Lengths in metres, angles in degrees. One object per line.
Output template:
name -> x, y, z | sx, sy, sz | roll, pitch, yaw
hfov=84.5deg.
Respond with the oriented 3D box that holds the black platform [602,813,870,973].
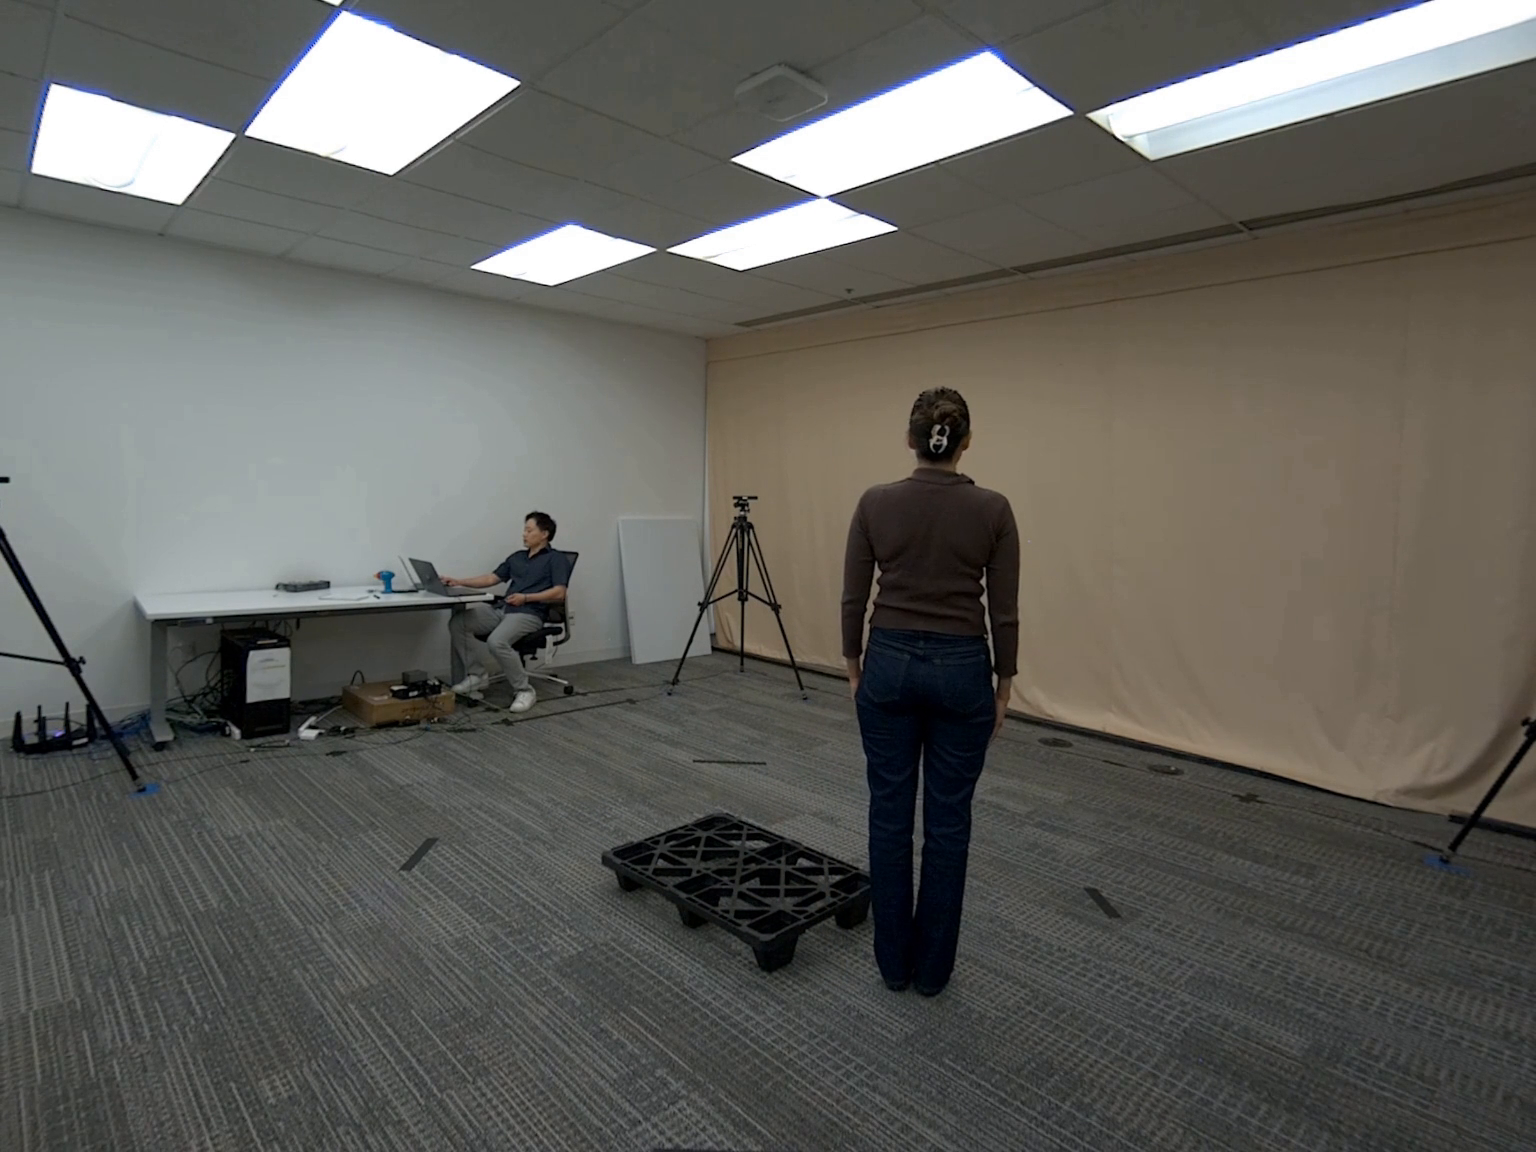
black platform -> -0.104, 1.058, 2.878 | 0.826, 0.143, 0.592 | 6, 8, 44
